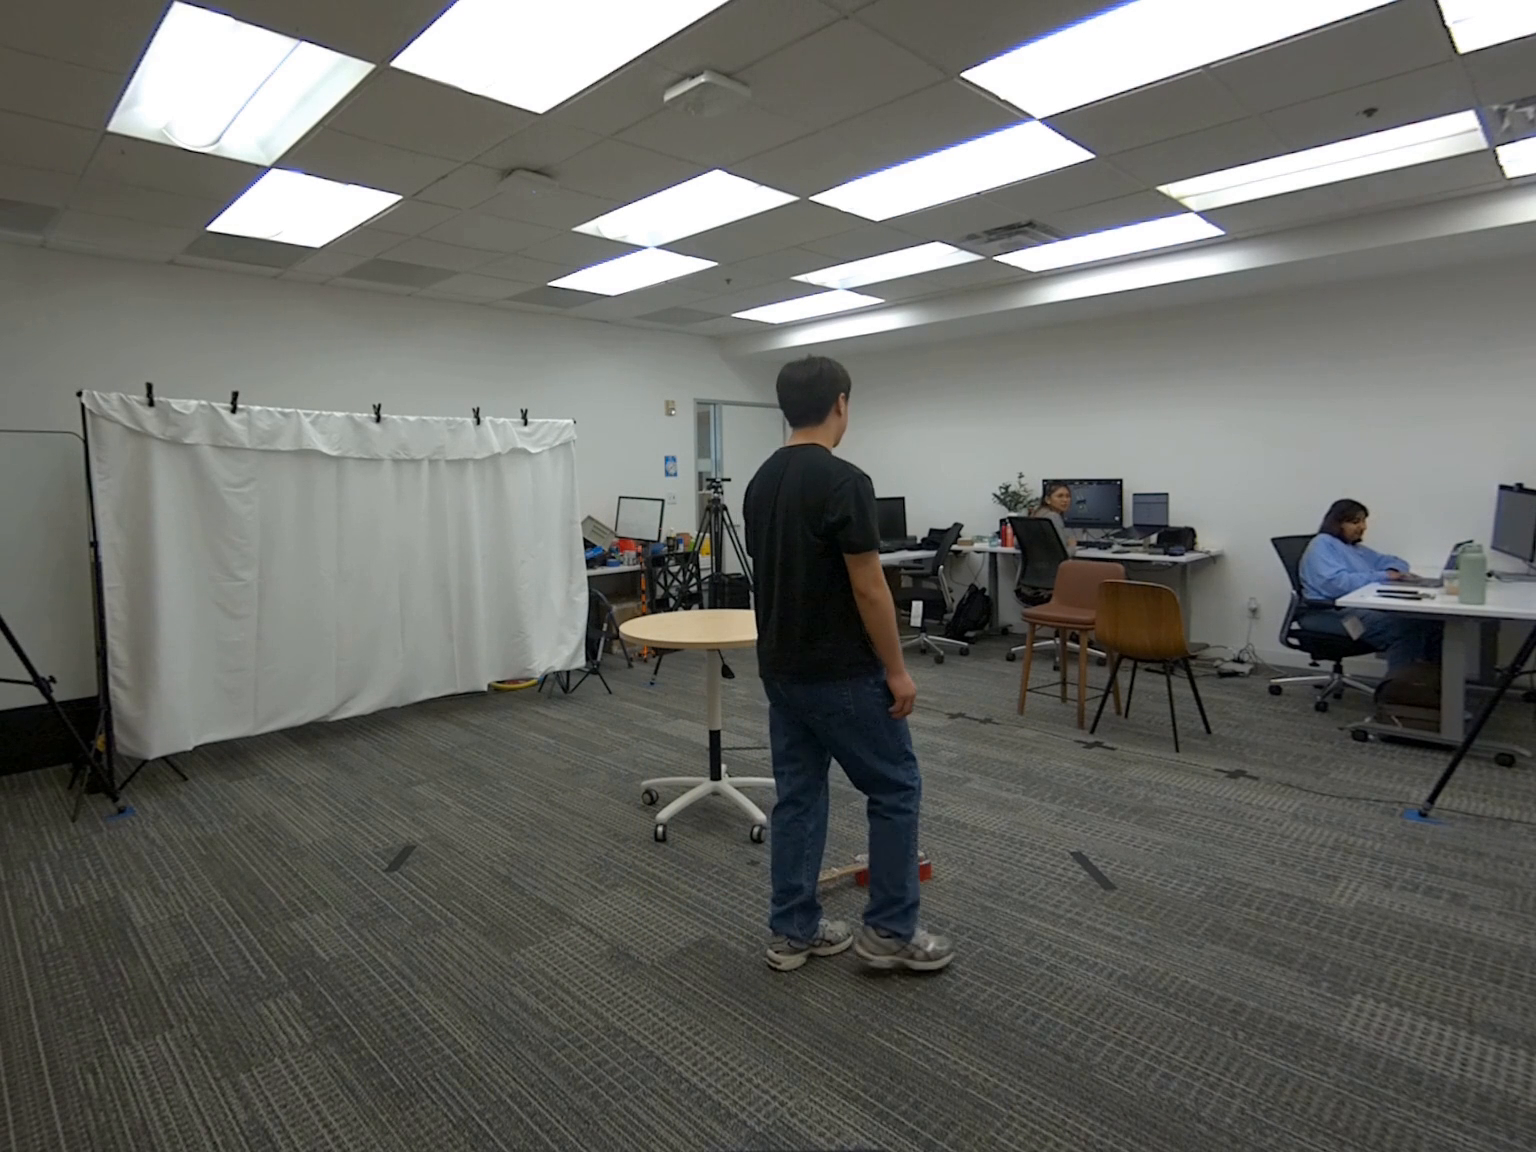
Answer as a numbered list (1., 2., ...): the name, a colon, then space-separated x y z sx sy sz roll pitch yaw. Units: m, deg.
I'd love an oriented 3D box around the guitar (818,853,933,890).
1. guitar: 0.326 1.017 2.973 0.489 0.070 0.197 -3 7 -19
